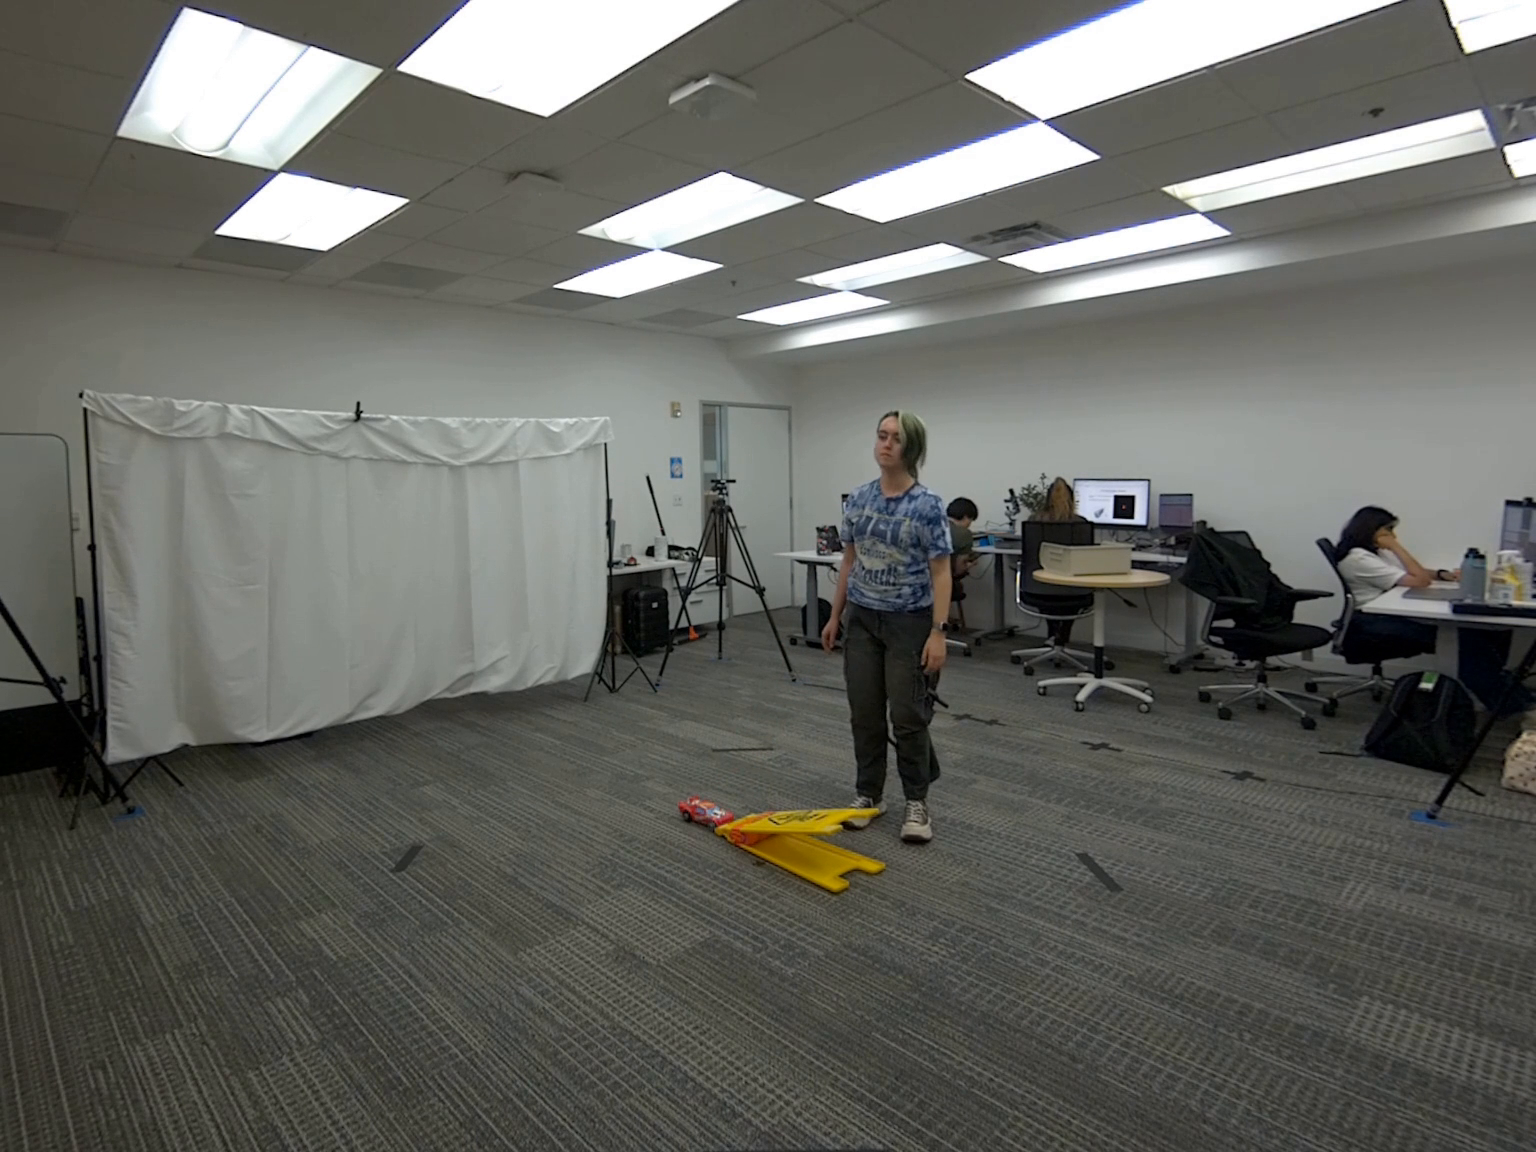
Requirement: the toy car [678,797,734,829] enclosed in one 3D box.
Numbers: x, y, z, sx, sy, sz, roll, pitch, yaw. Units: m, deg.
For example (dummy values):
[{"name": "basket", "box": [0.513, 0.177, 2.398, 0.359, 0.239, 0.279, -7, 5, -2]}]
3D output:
[{"name": "toy car", "box": [-0.264, 0.974, 3.505, 0.264, 0.082, 0.127, 17, 16, 41]}]
